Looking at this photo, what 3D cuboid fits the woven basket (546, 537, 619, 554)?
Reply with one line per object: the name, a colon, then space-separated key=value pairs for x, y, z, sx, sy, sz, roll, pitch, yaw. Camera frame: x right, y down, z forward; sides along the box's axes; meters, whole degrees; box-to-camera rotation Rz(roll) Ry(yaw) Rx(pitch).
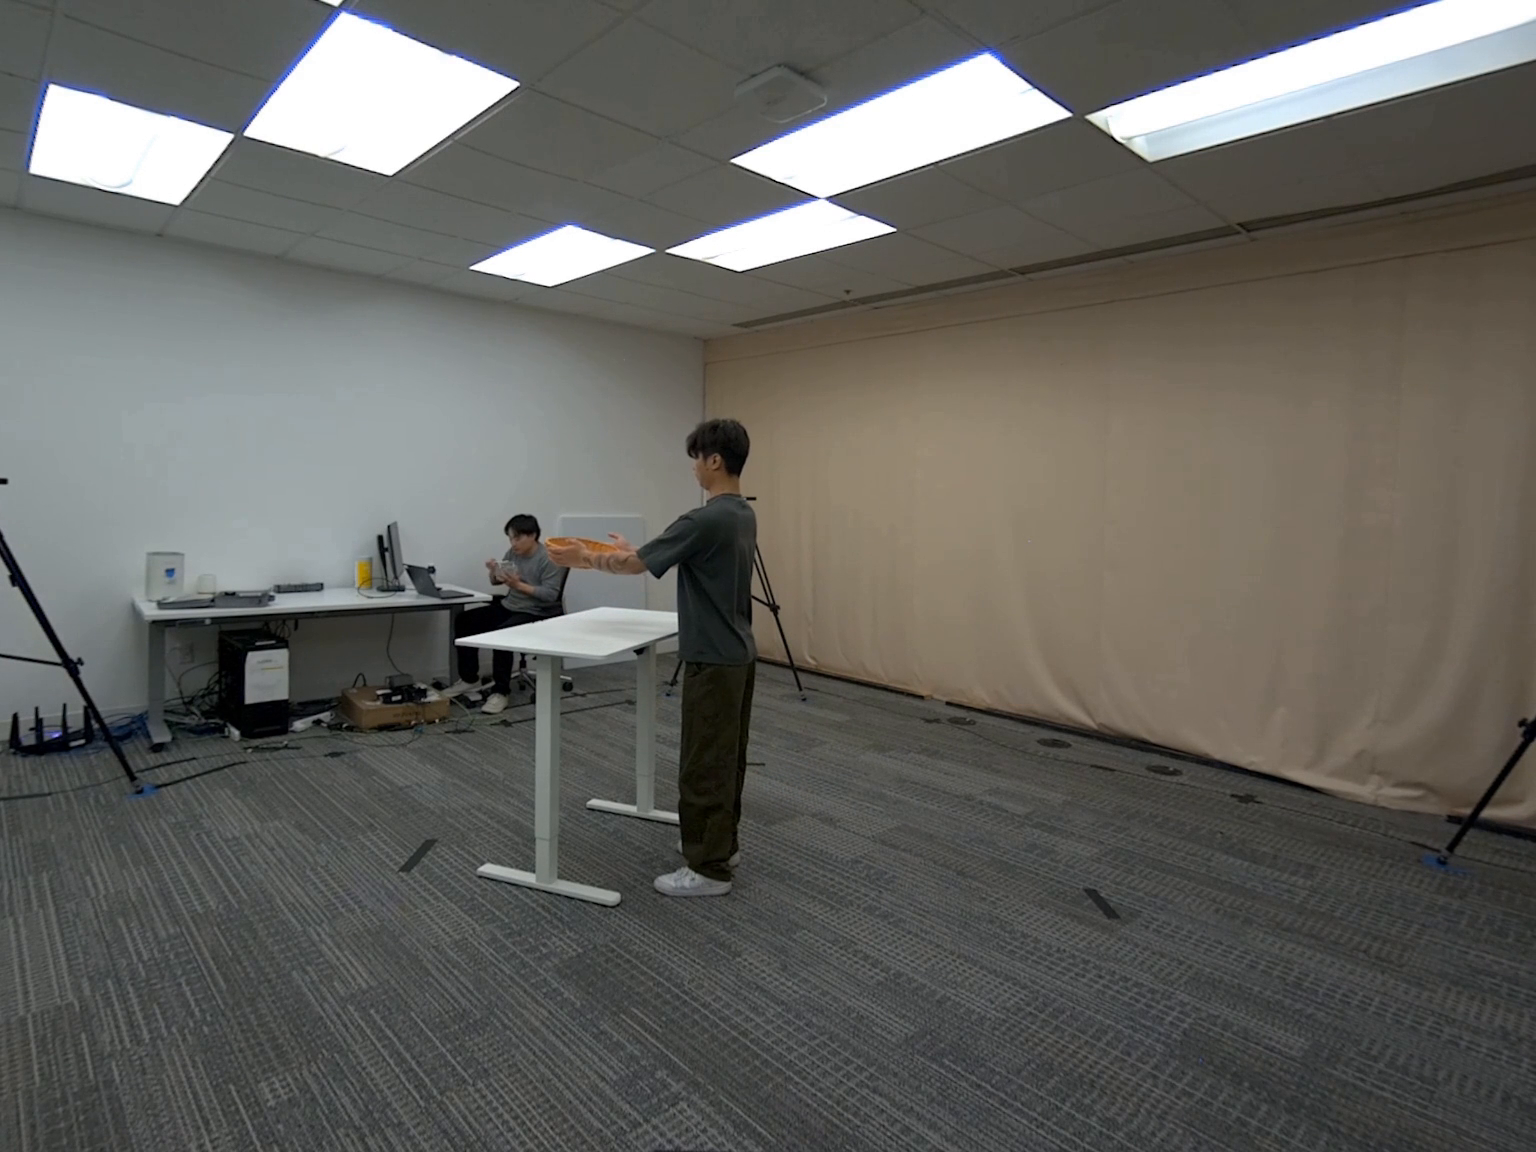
woven basket: x=-0.695 y=-0.080 z=3.273 sx=0.258 sy=0.073 sz=0.344 roll=15 pitch=10 yaw=27
